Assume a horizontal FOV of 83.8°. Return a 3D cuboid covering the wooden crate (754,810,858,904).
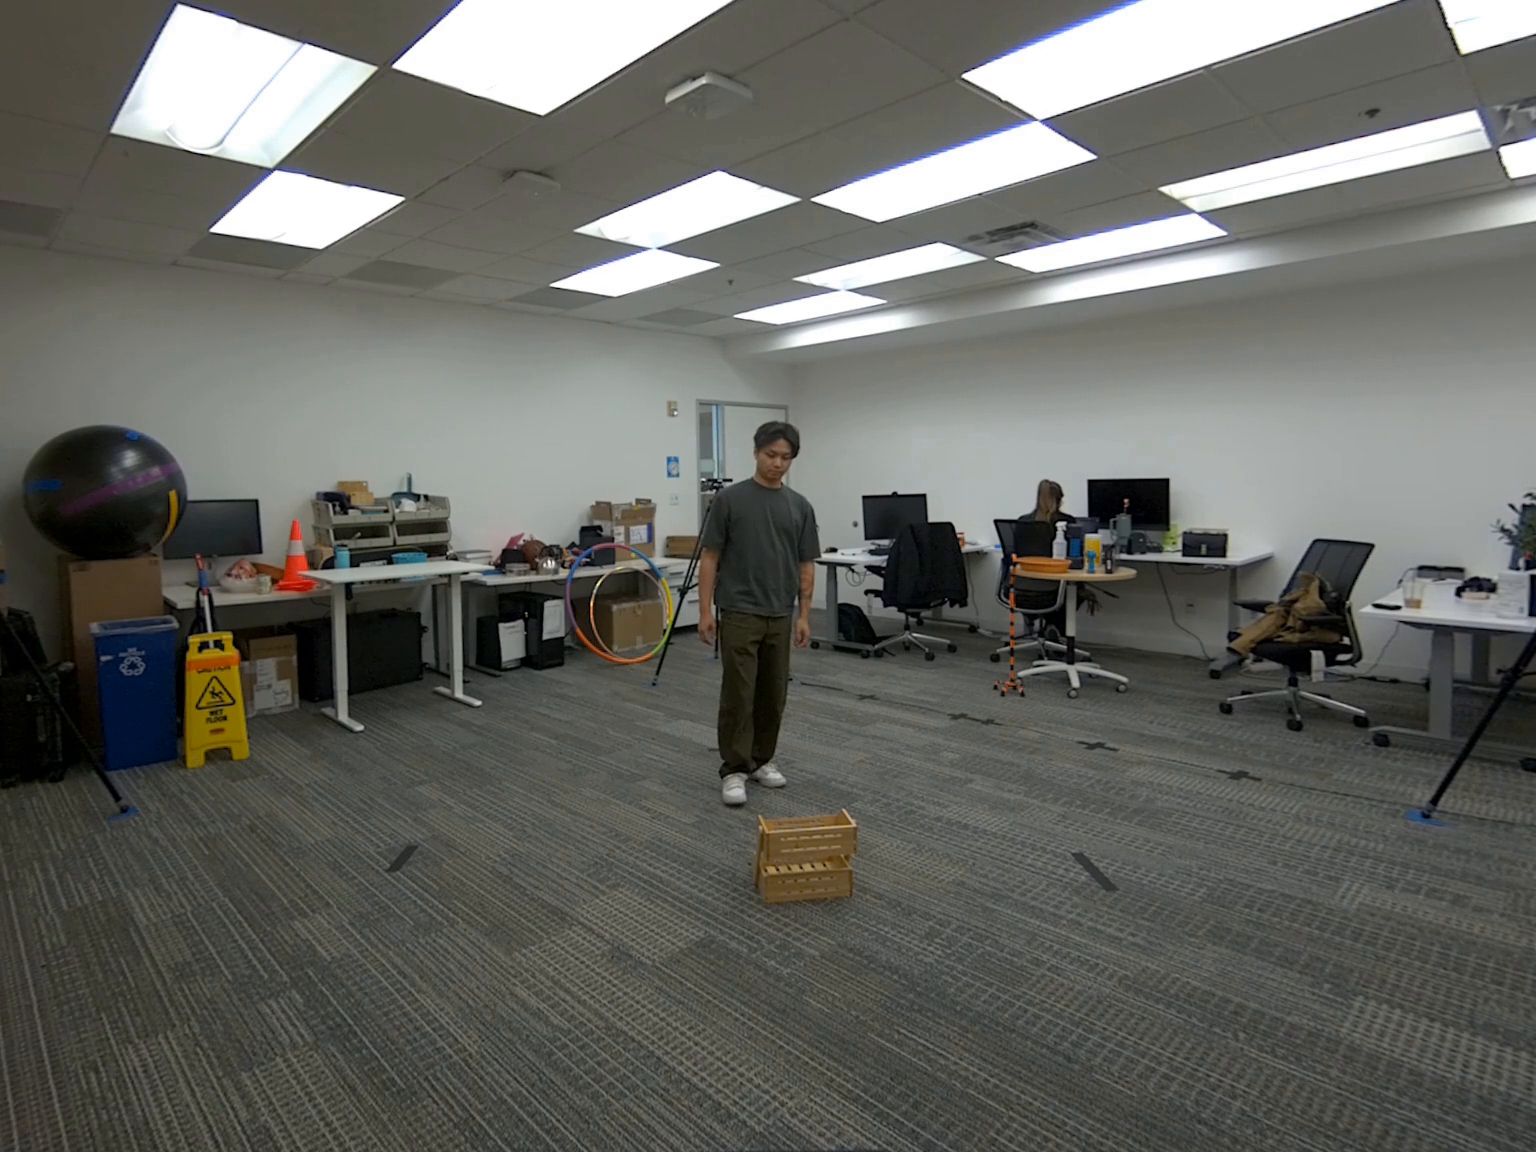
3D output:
[{"bbox_3d":[0.114,0.933,2.923,0.322,0.272,0.306,-2,5,-10],"label":"wooden crate"}]
